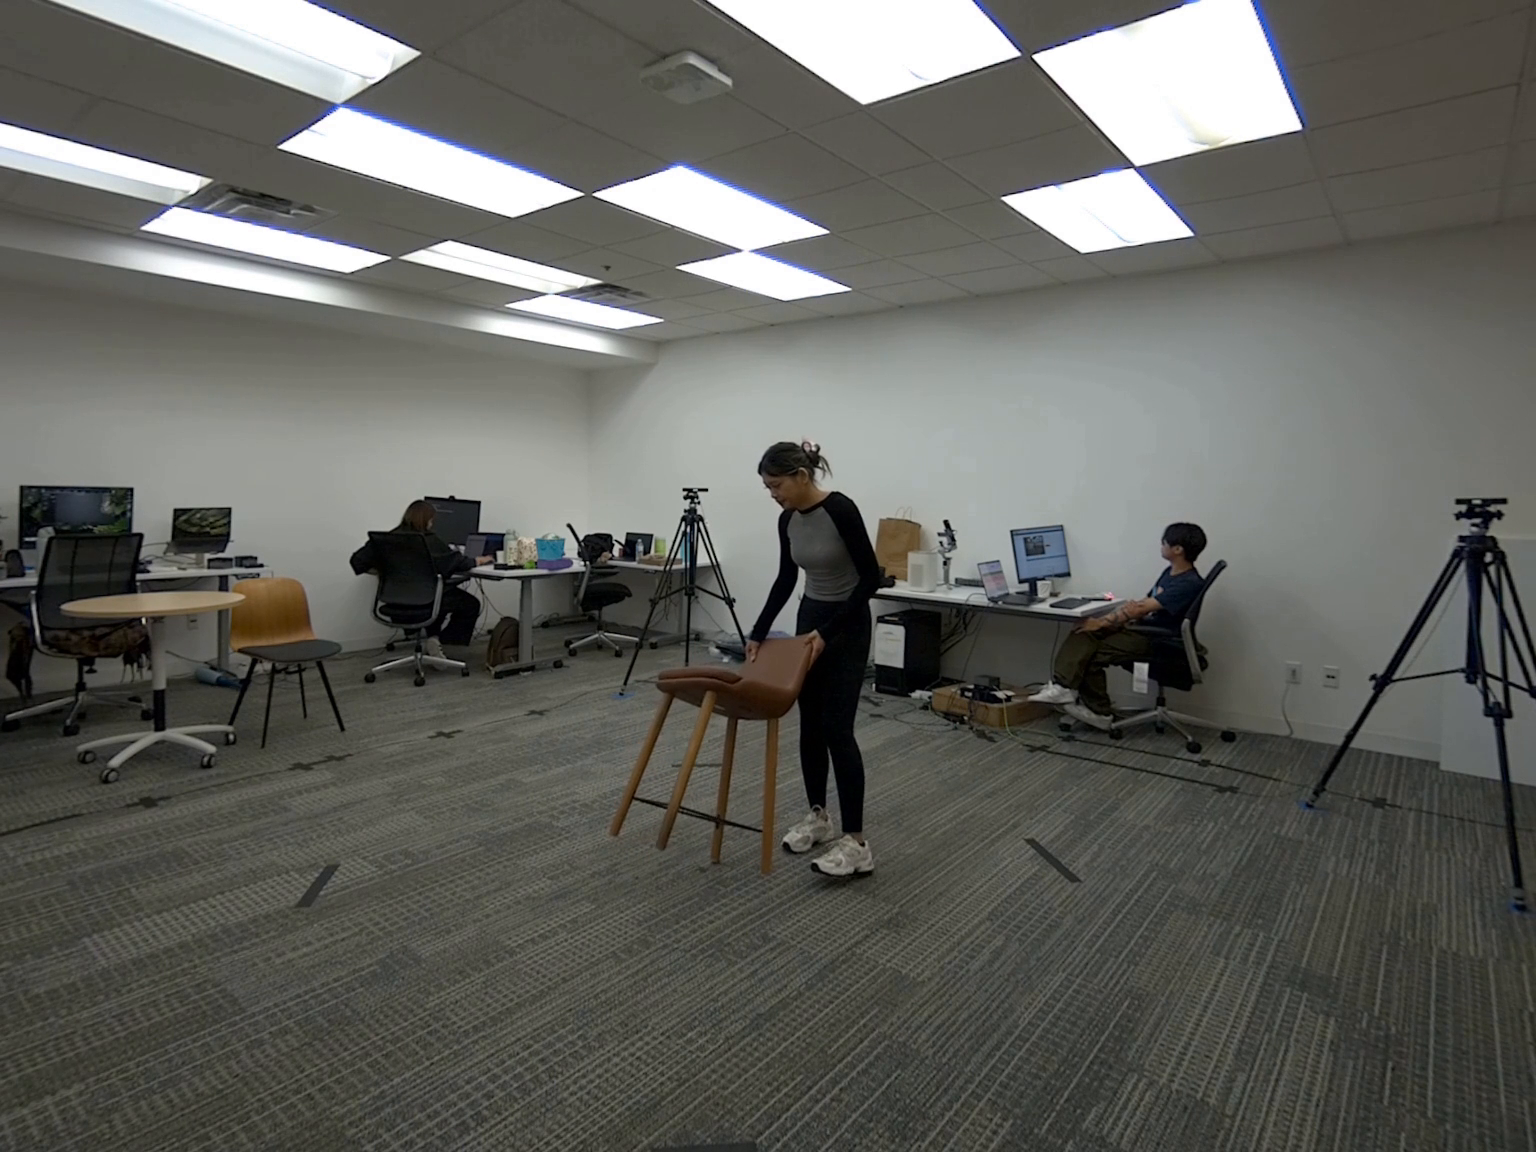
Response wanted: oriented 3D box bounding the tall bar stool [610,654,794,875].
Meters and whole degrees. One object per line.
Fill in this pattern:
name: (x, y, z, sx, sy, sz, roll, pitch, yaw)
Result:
tall bar stool: (-0.184, 0.562, 3.082, 0.453, 0.901, 0.465, 24, -22, -25)
